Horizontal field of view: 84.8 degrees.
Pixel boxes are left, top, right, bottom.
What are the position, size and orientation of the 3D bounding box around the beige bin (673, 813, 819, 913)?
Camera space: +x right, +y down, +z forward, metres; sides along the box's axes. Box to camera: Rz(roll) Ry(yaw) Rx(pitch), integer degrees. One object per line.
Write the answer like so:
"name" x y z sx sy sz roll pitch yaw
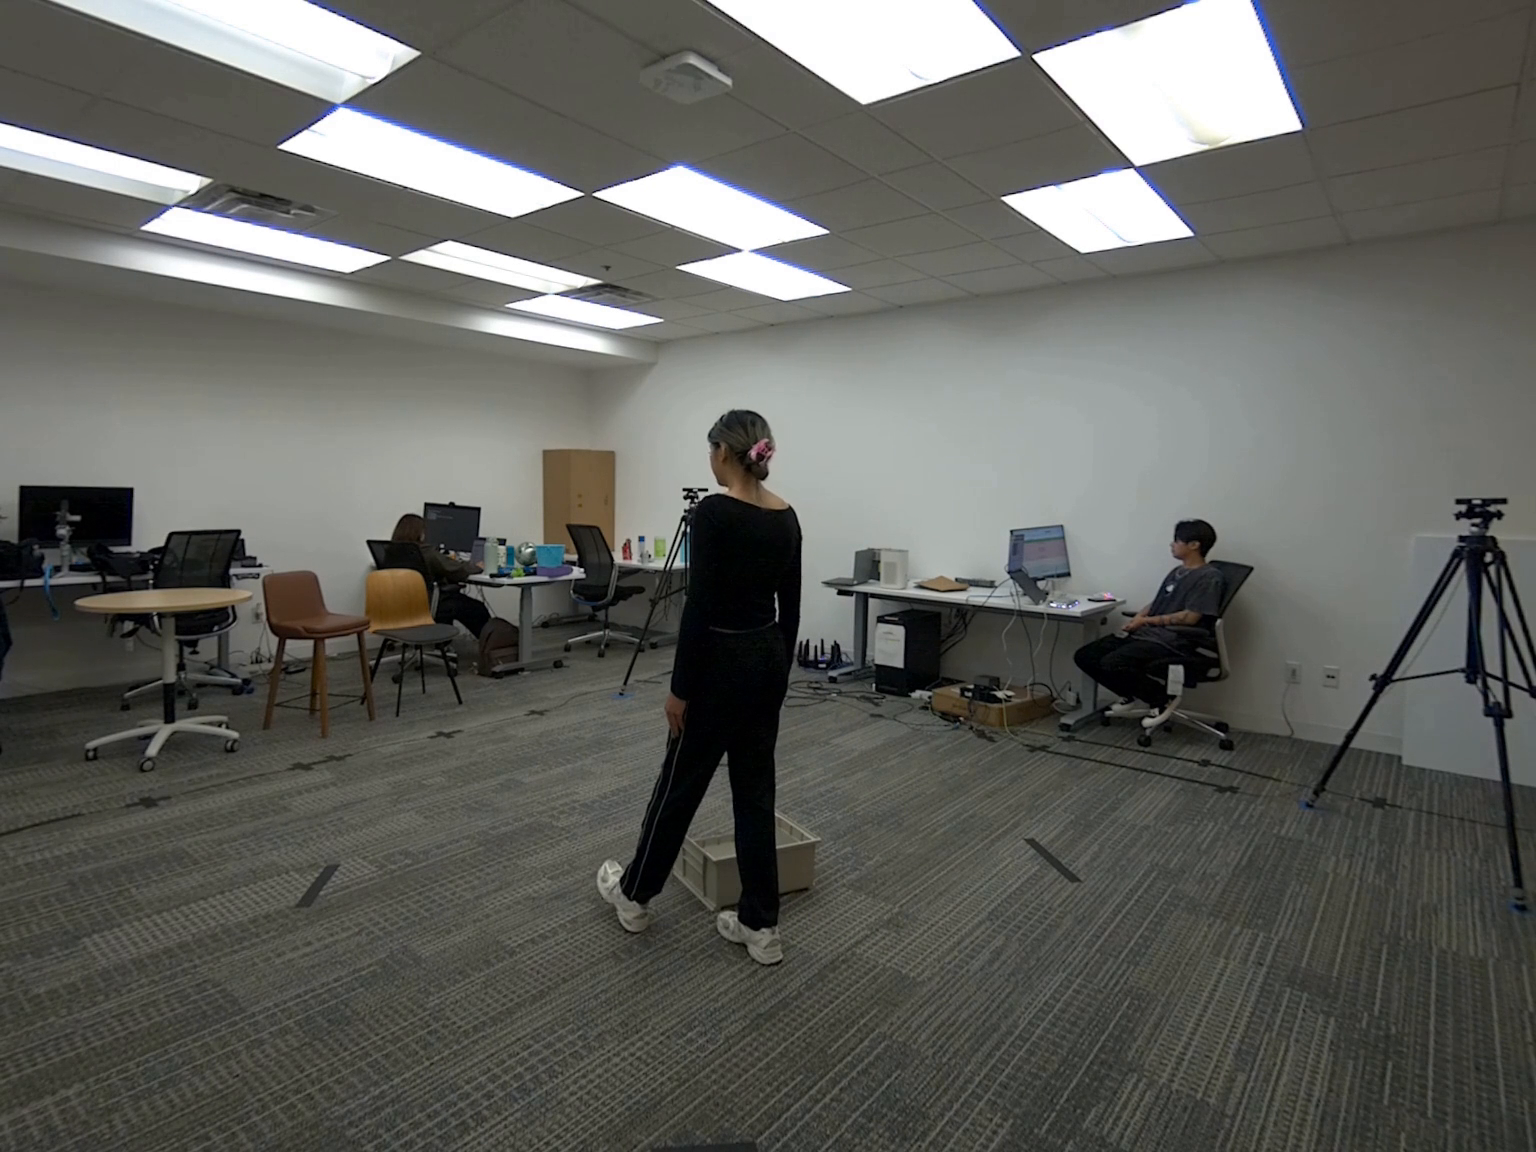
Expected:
"beige bin" -0.103 0.991 3.035 0.411 0.188 0.389 -1 6 -29
